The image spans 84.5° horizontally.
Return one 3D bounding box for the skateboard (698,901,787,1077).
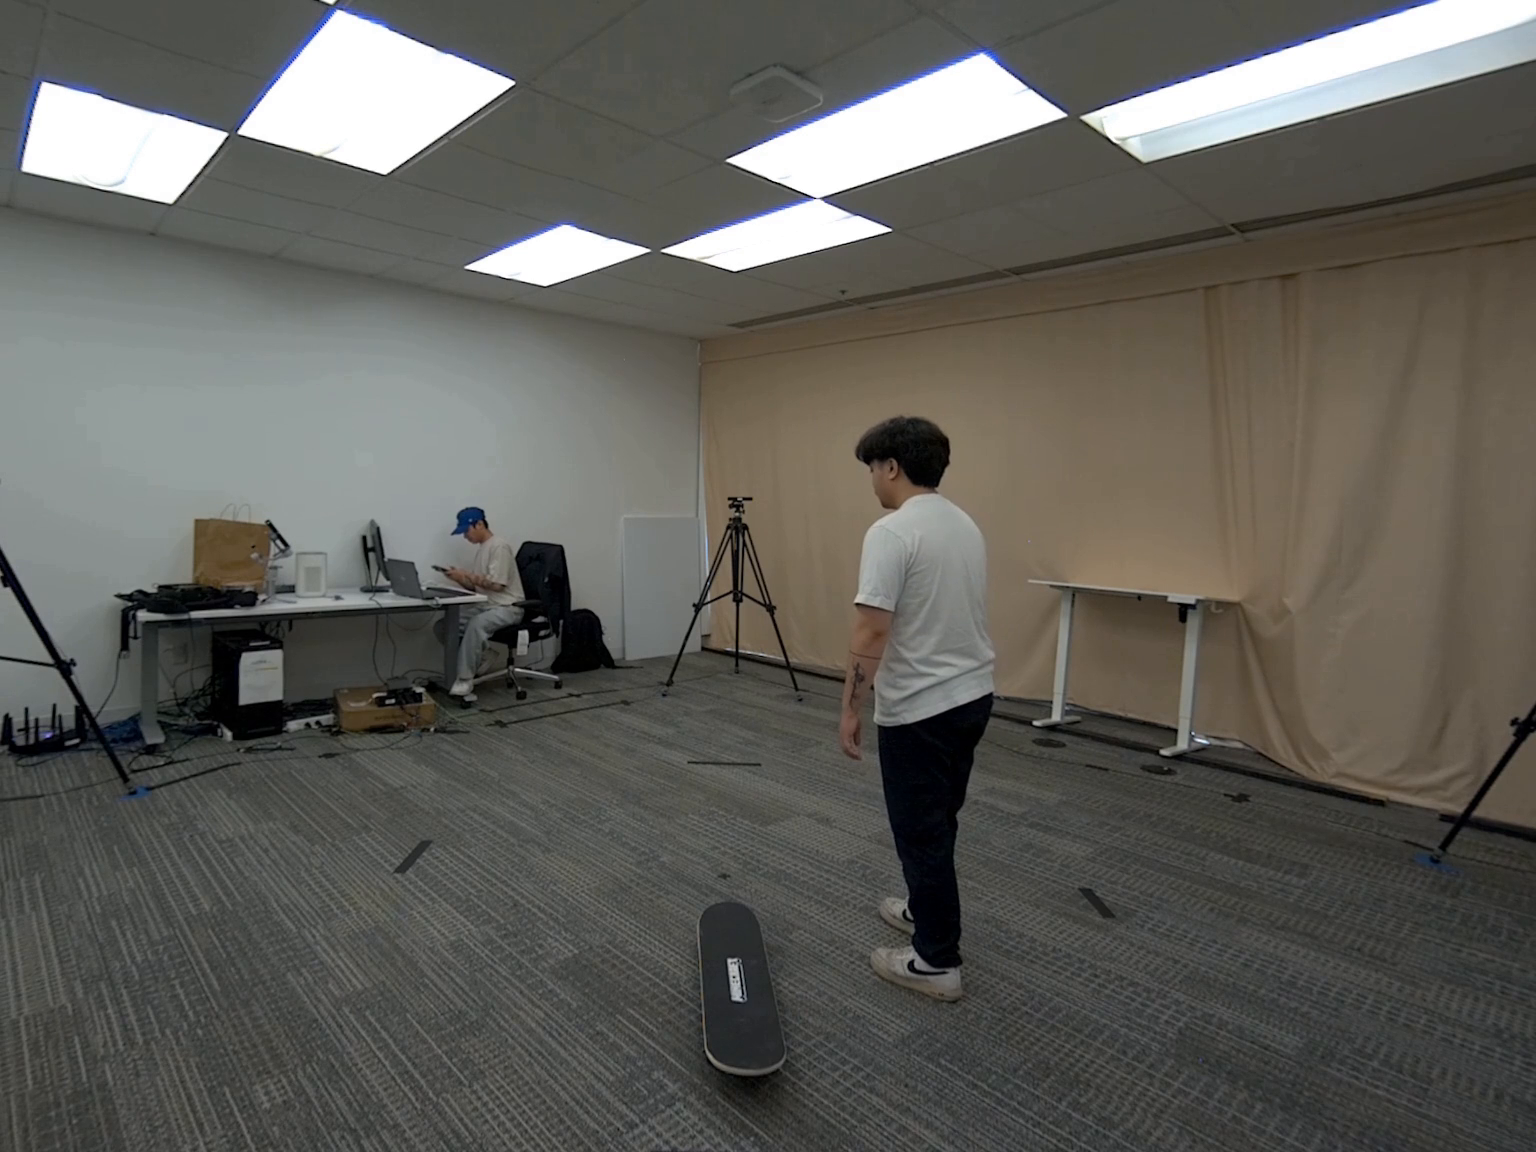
[{"bbox_3d":[-0.093,1.127,2.287,0.192,0.110,0.791,0,5,-7],"label":"skateboard"}]
